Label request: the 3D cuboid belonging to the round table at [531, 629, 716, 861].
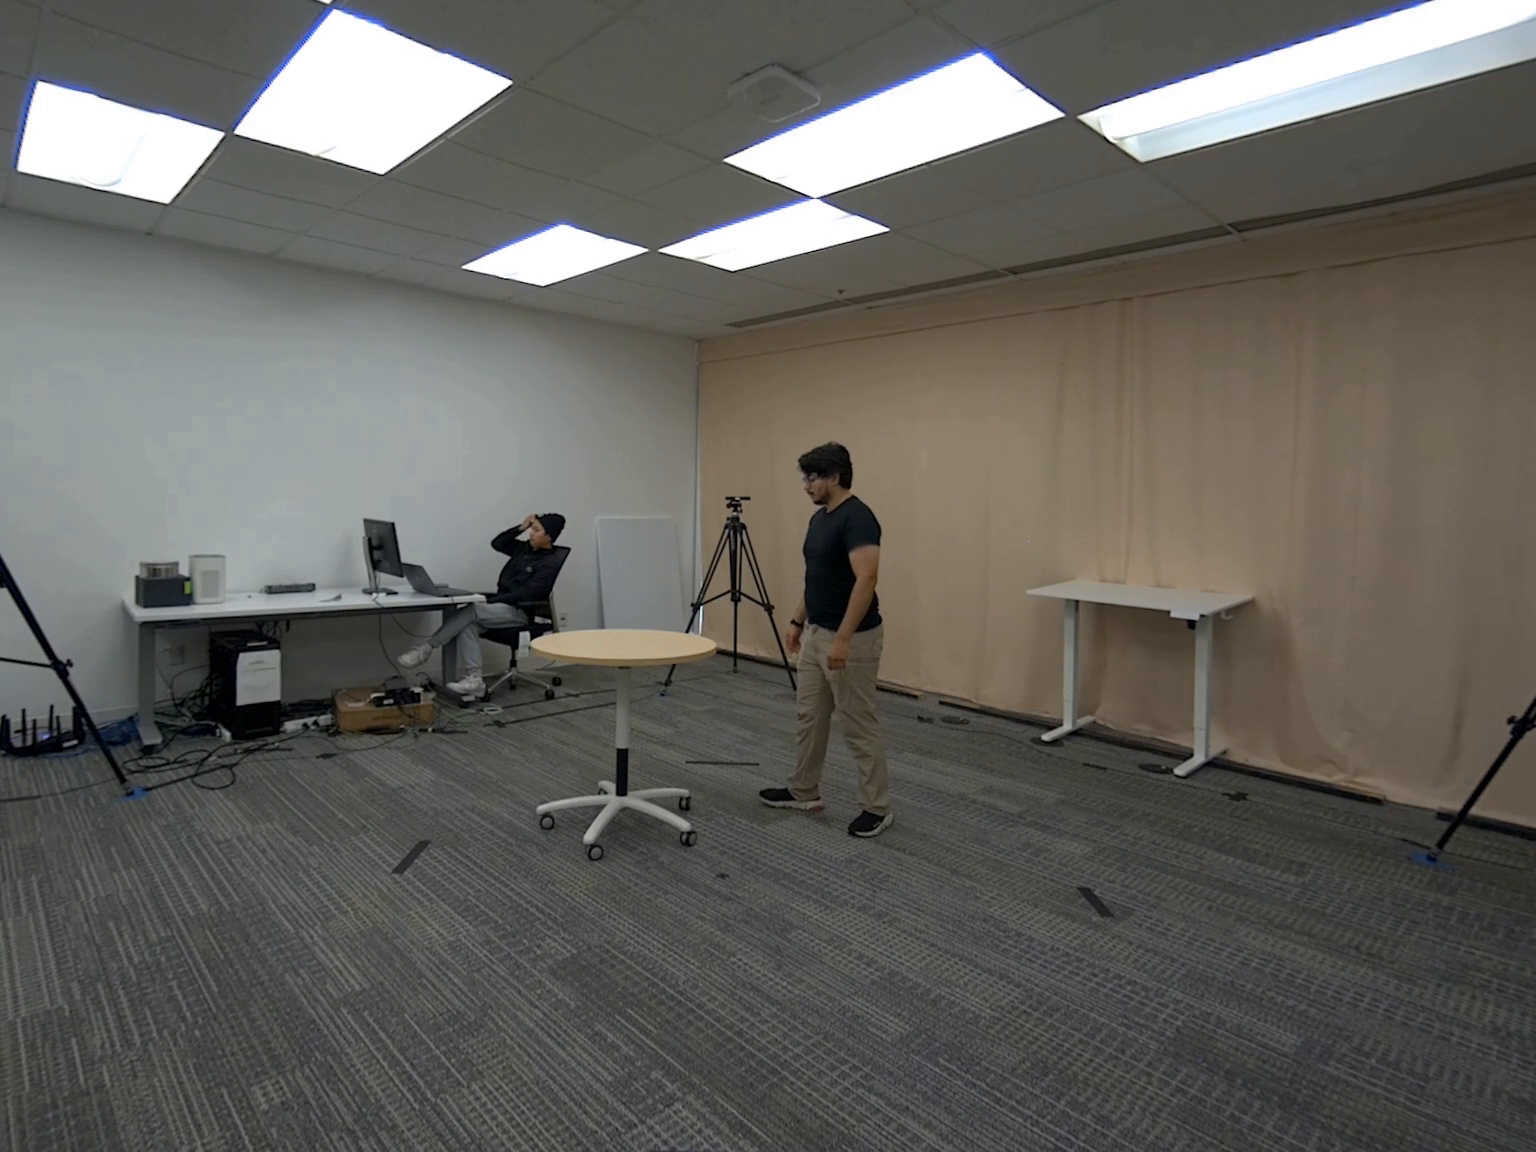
[{"bbox_3d":[-0.617,0.667,3.507,0.784,0.785,0.787,1,3,-1],"label":"round table"}]
